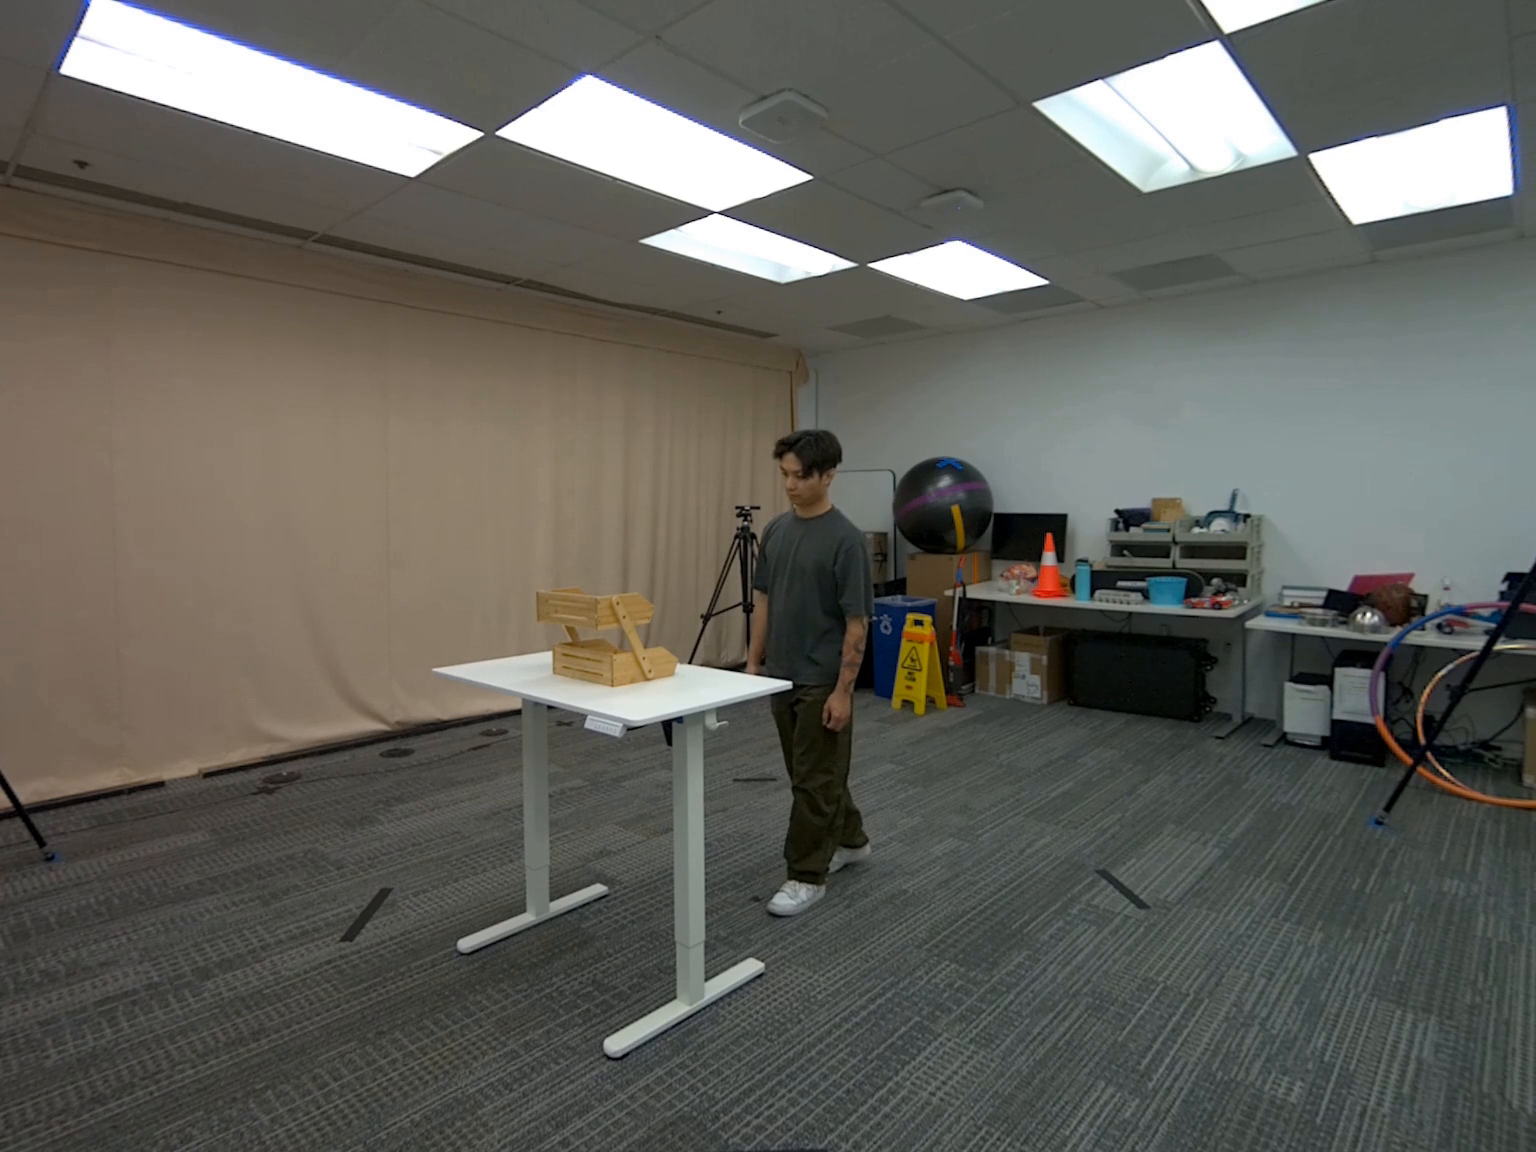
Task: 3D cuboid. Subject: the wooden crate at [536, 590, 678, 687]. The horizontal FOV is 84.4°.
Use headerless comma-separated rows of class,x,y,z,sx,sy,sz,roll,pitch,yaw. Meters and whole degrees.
wooden crate,-0.482,0.169,2.544,0.335,0.273,0.293,2,5,43
